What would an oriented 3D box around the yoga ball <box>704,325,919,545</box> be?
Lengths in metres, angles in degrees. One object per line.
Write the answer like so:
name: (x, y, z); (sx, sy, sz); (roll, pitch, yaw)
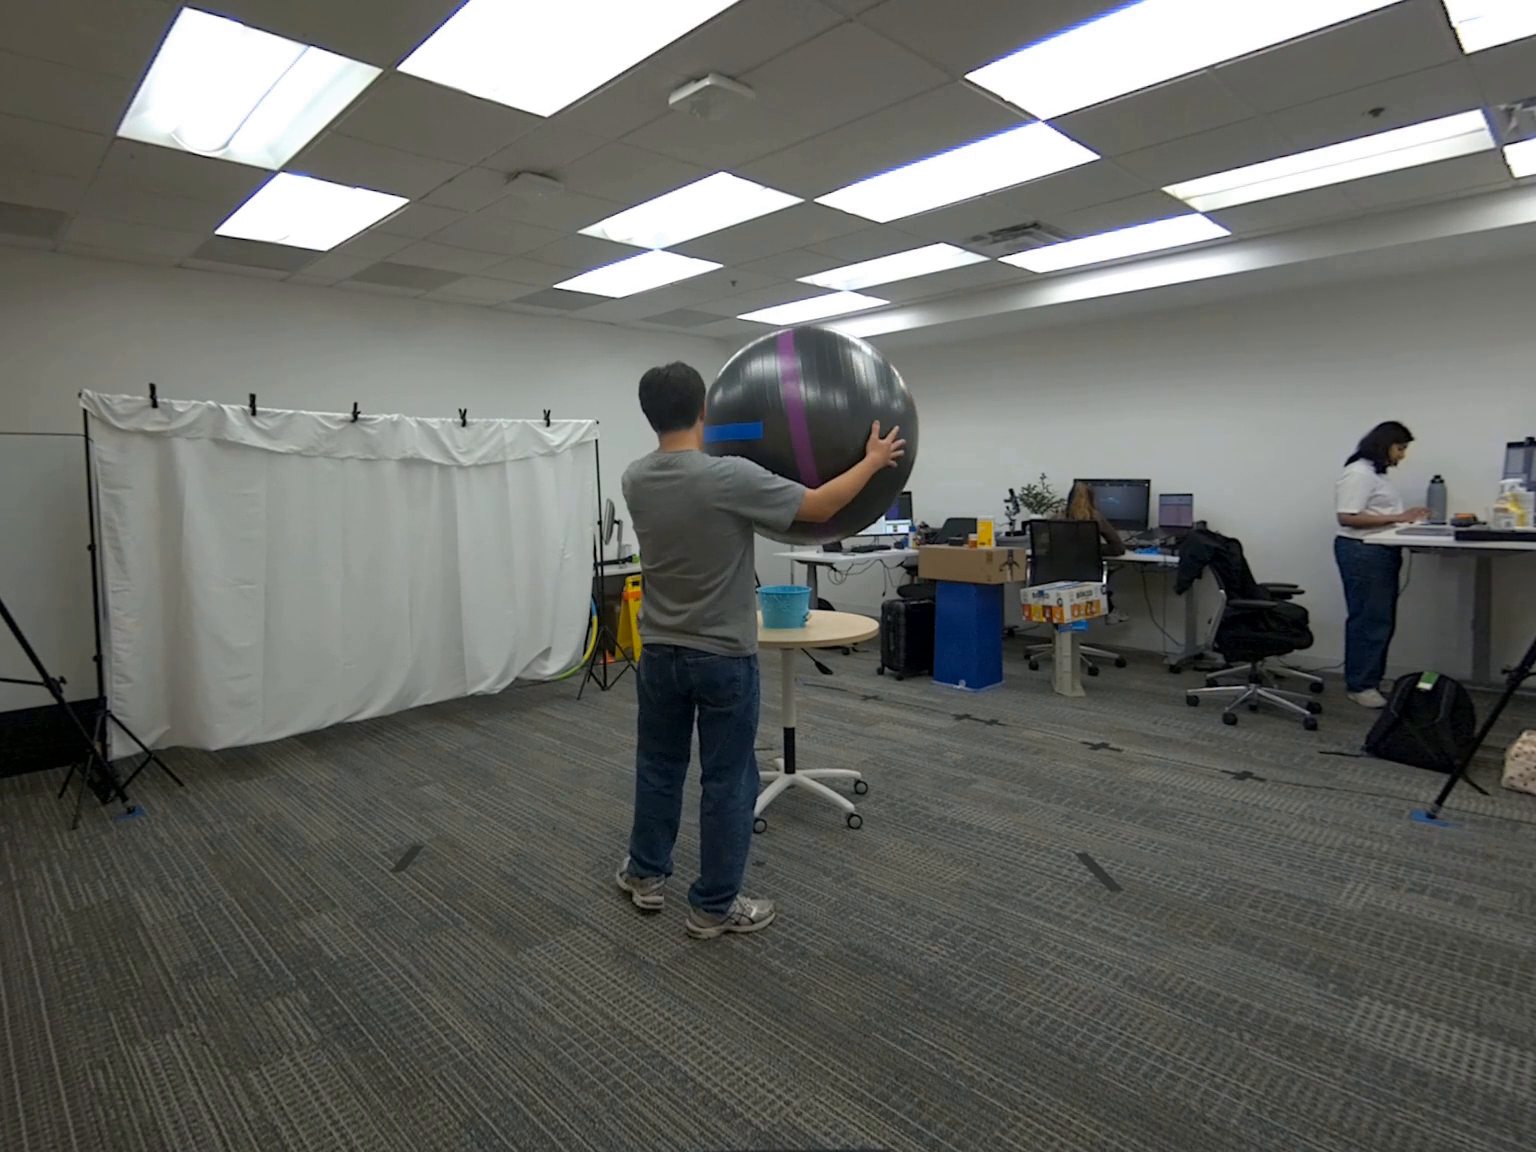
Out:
yoga ball: (0.135, -0.480, 2.992); (0.757, 0.755, 0.762); (-1, 5, -2)
